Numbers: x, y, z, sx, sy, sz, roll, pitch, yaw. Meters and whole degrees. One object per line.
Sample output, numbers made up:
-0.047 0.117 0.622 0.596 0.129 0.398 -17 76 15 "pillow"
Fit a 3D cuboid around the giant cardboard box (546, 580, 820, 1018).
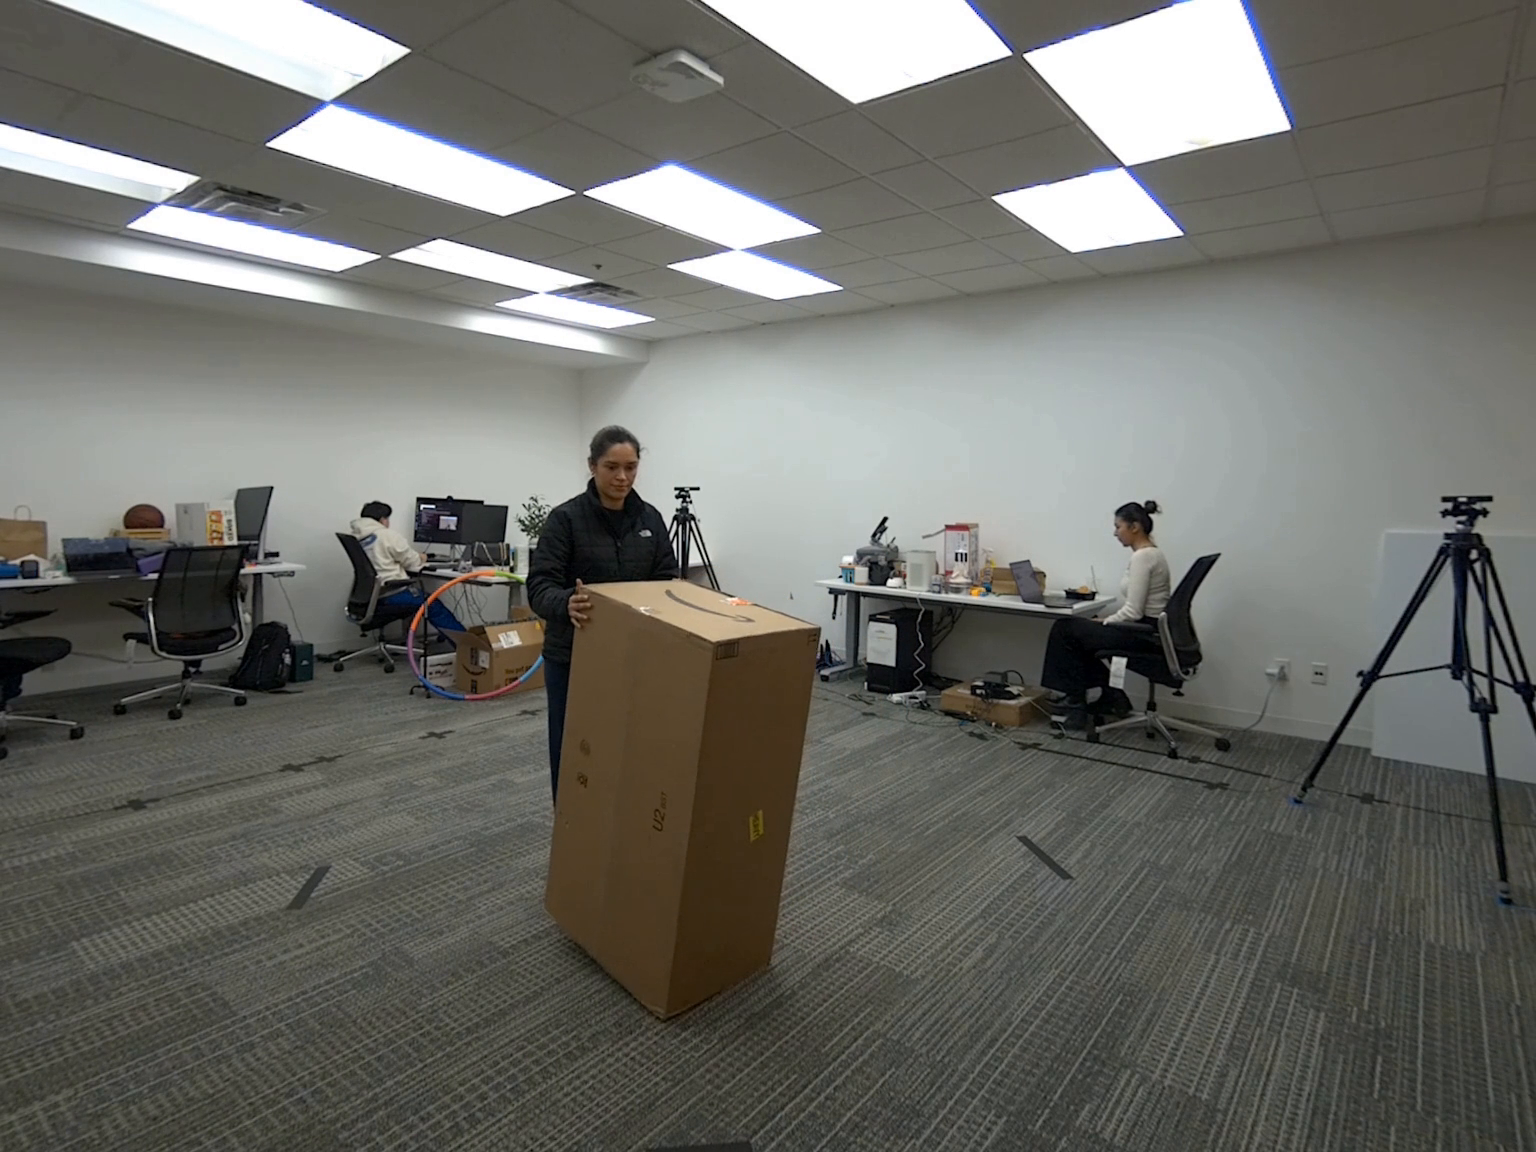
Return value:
-0.255 0.585 2.485 0.413 1.019 0.600 0 12 -45 "giant cardboard box"
